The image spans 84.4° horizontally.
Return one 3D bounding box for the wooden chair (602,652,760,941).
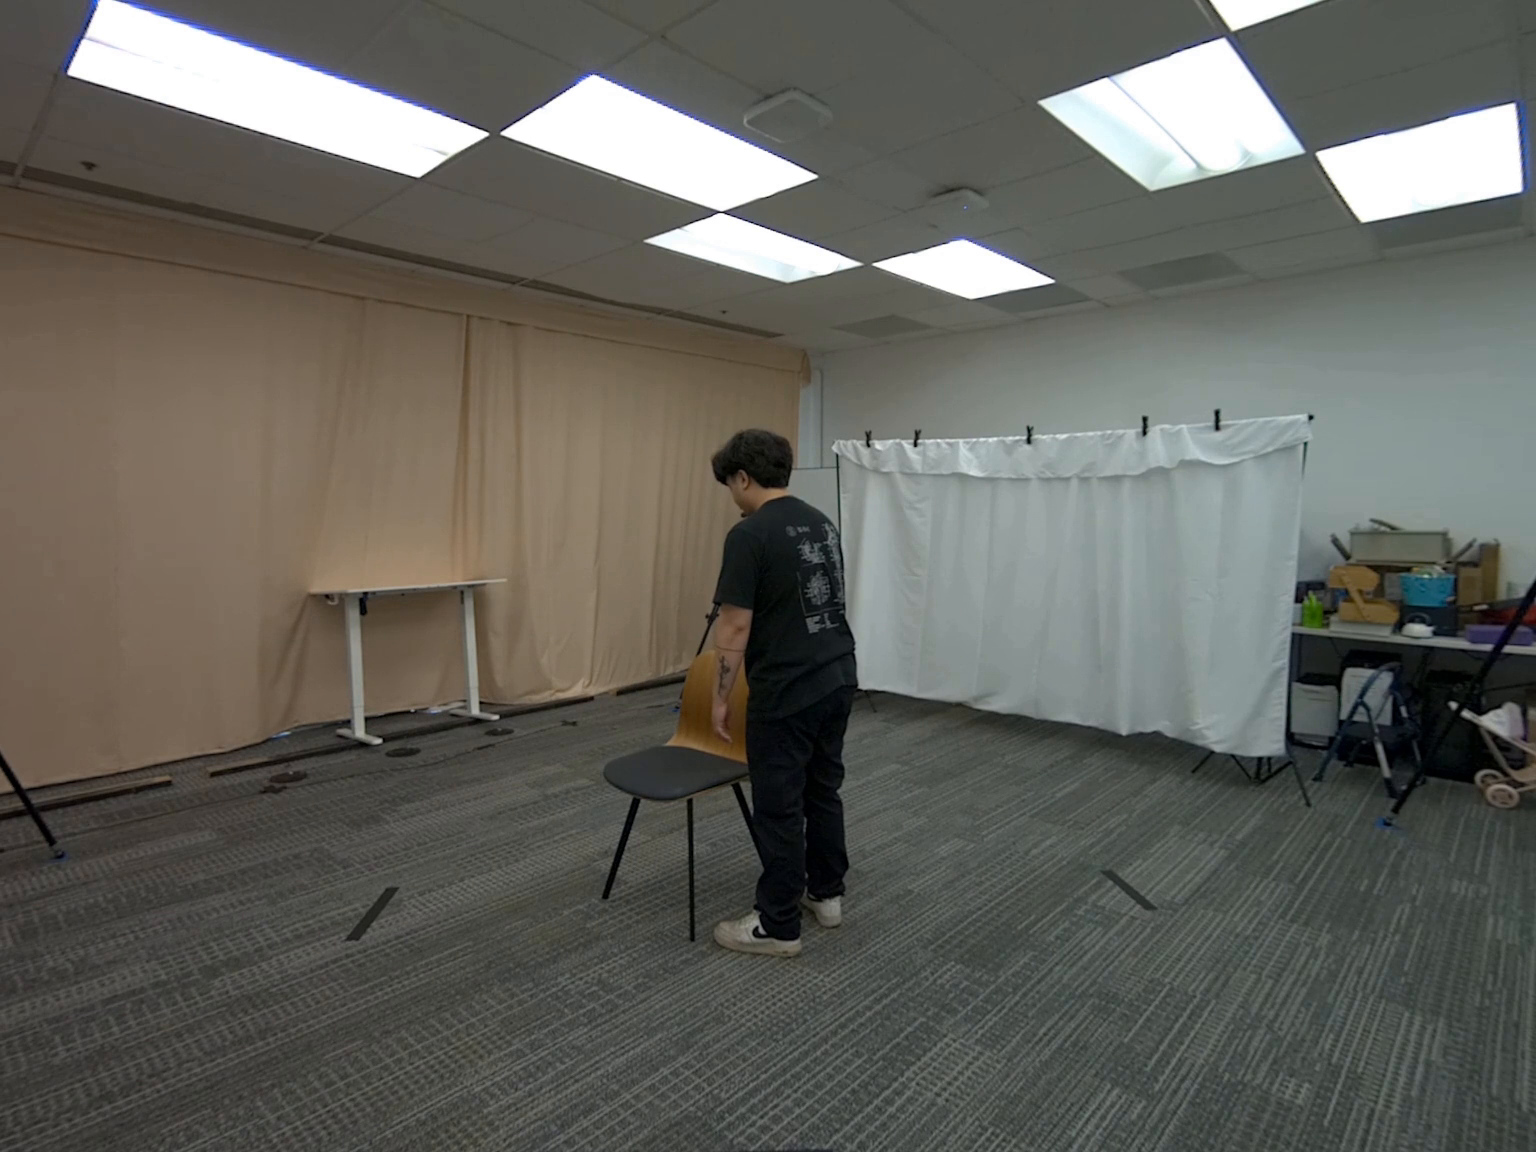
[{"bbox_3d":[-0.278,0.718,2.975,0.494,0.877,0.506,3,0,41],"label":"wooden chair"}]
